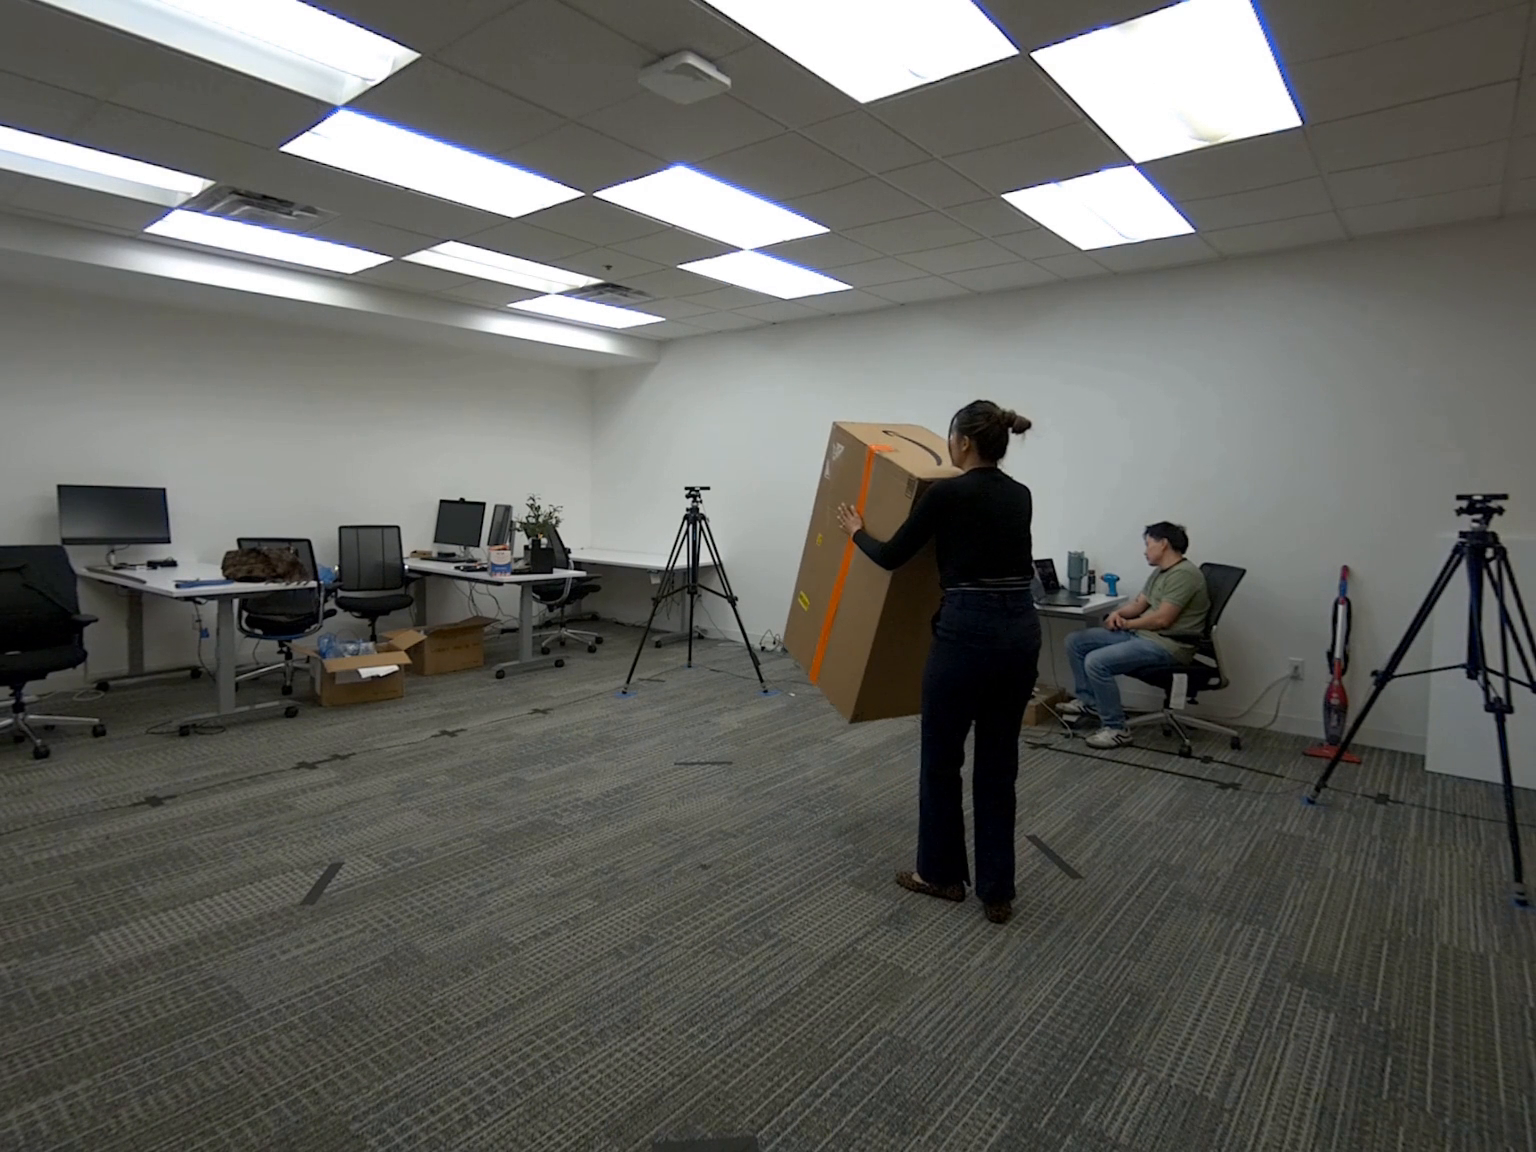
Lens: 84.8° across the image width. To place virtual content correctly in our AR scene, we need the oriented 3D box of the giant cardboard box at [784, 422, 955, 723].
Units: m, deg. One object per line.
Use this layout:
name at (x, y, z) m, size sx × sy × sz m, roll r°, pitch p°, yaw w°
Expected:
giant cardboard box at (0.450, -0.021, 3.361) m, size 0.416 × 1.009 × 0.601 m, roll -1°, pitch 27°, yaw -27°
